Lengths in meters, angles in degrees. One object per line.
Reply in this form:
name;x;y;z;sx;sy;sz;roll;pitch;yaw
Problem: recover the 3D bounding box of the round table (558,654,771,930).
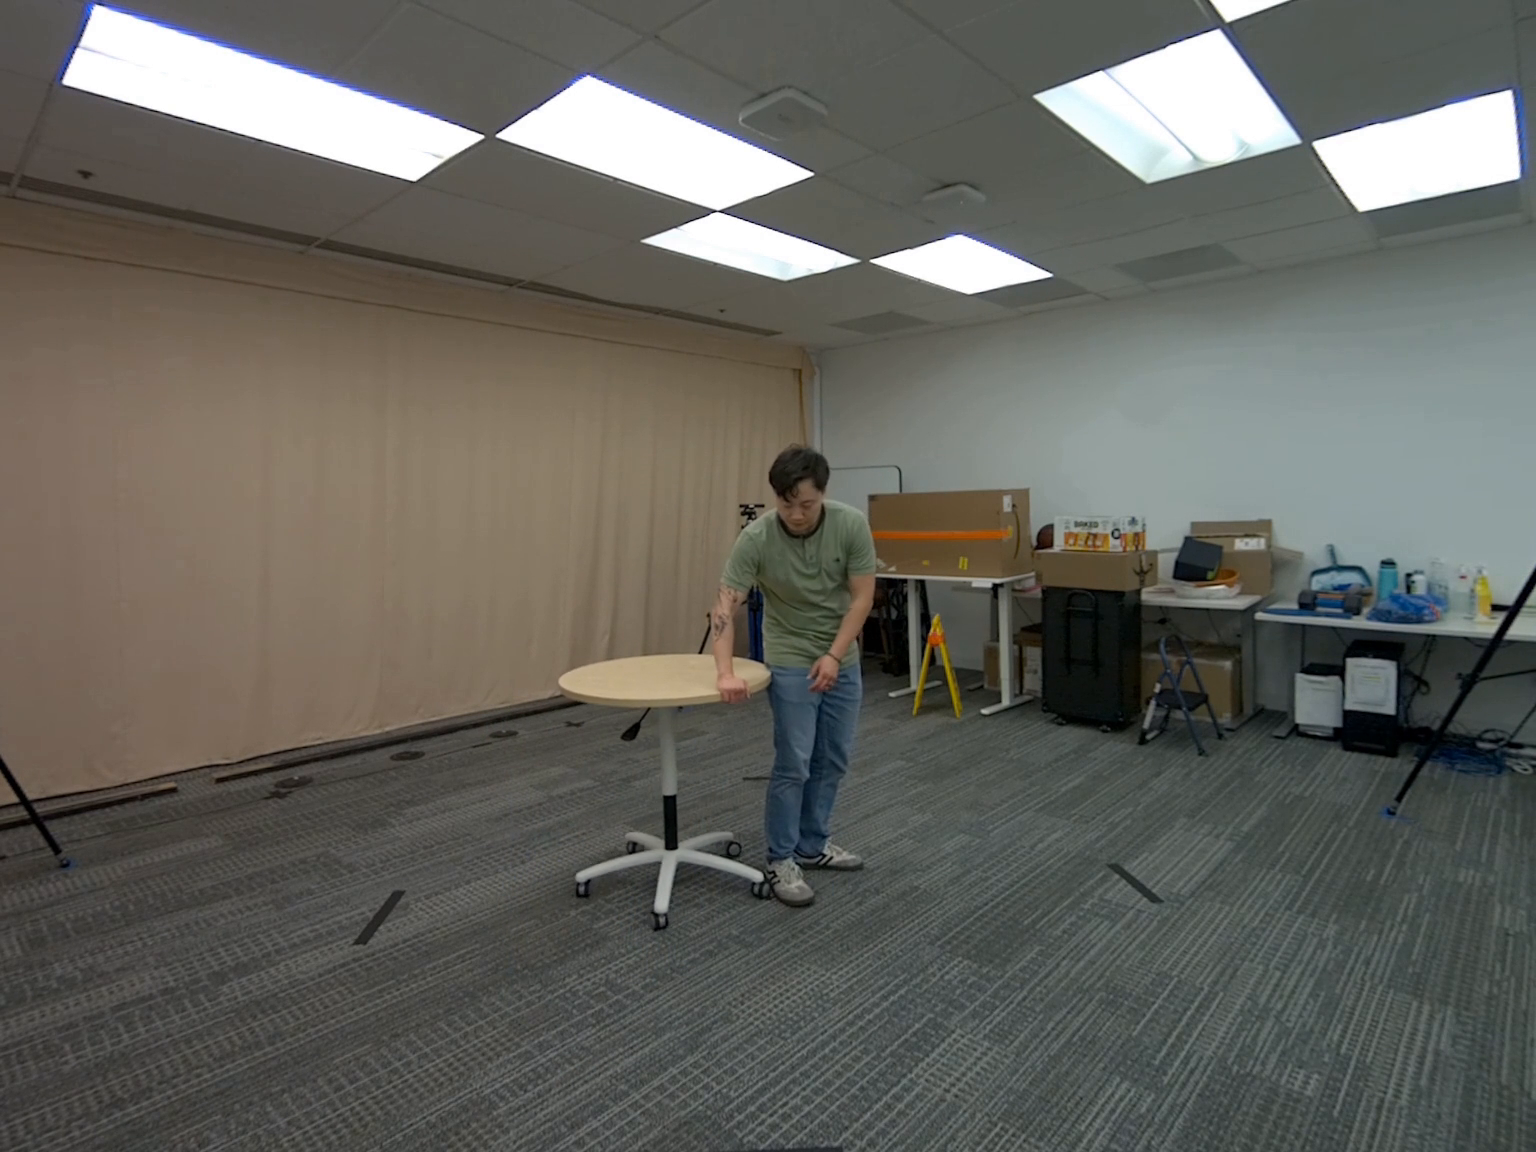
round table;-0.358;0.752;3.068;0.763;0.792;0.767;-2;4;-2
